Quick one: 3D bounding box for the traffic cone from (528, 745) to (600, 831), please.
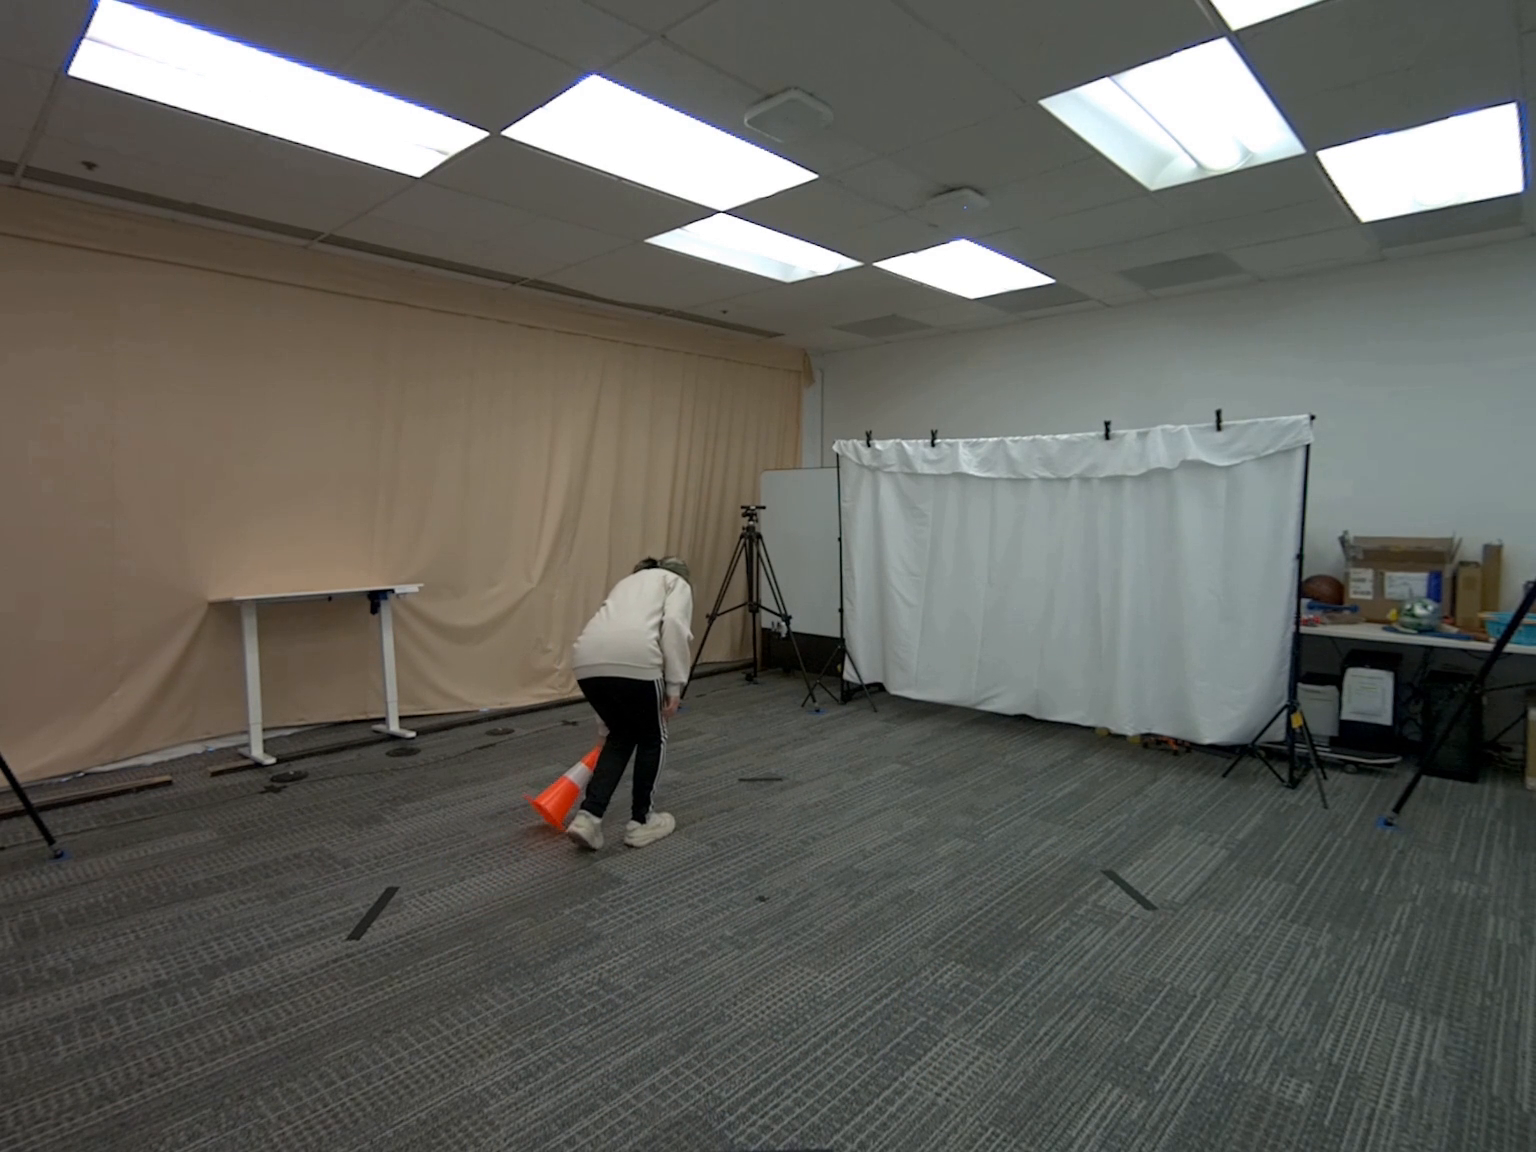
[{"bbox_3d":[-0.847,0.894,3.683,0.211,0.199,0.381,-5,36,52],"label":"traffic cone"}]
